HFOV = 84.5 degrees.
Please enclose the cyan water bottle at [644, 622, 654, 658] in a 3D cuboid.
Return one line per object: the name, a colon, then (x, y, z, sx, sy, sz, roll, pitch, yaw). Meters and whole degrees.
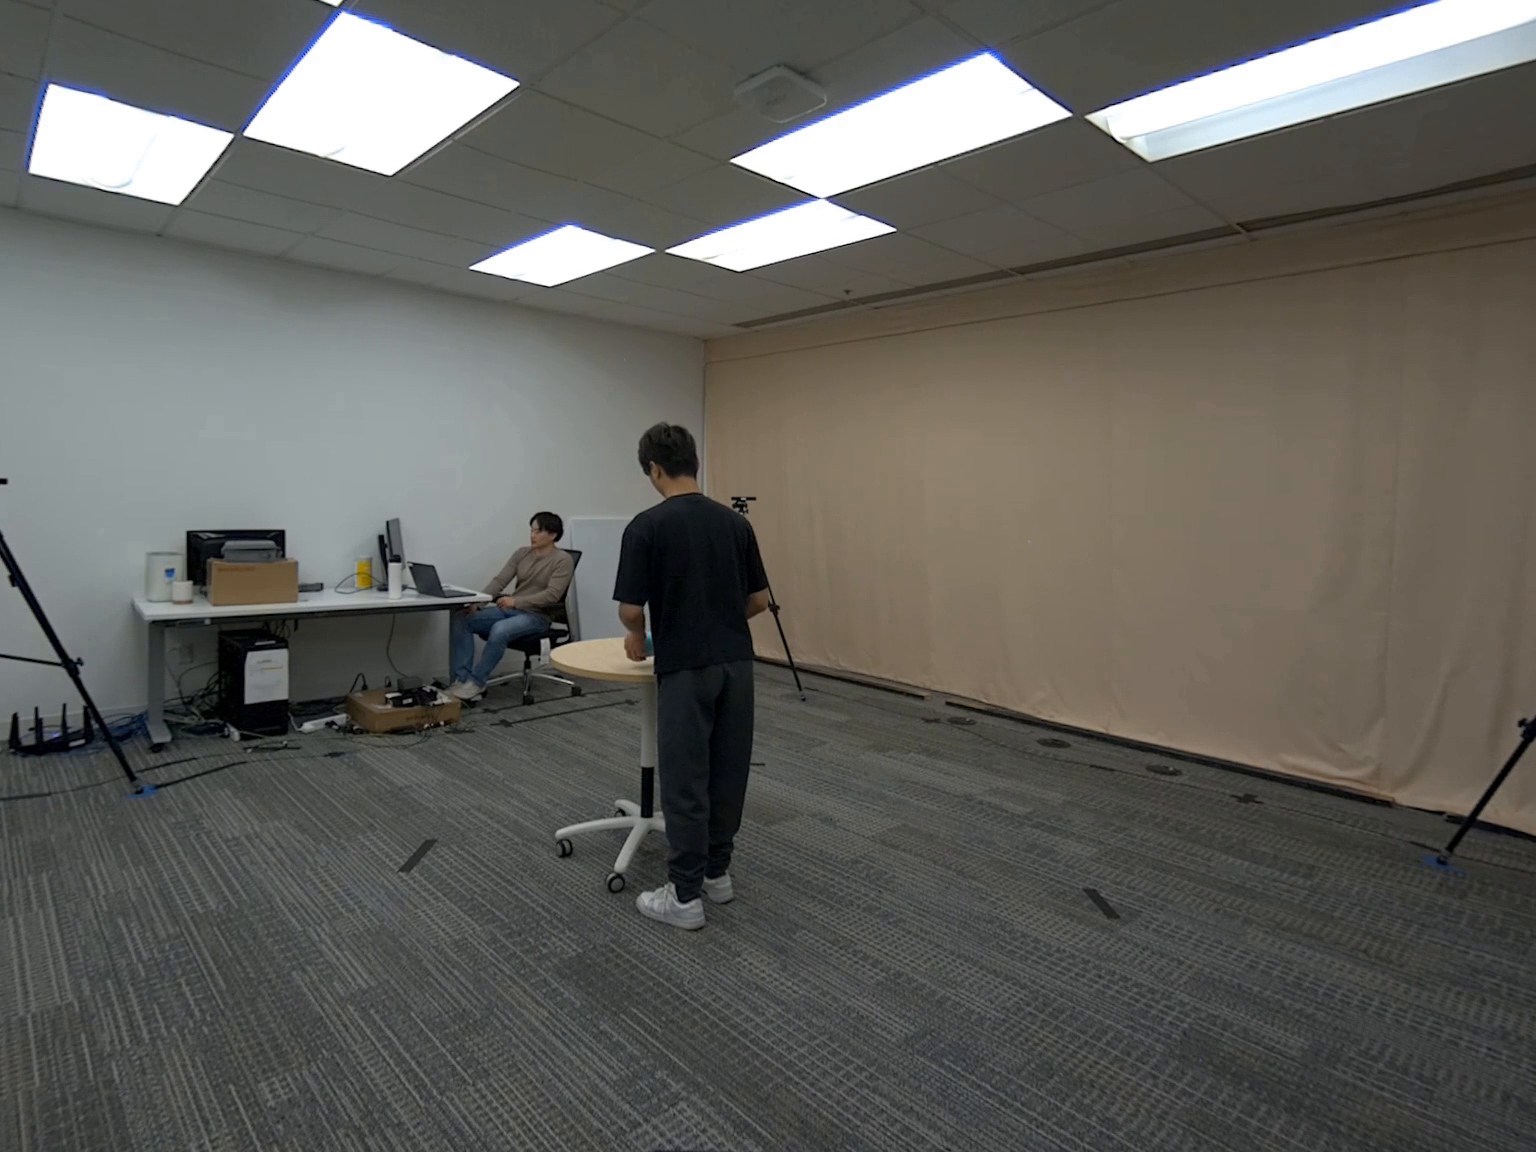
cyan water bottle: (-0.368, 0.247, 3.091, 0.277, 0.092, 0.094, -5, 7, -35)
